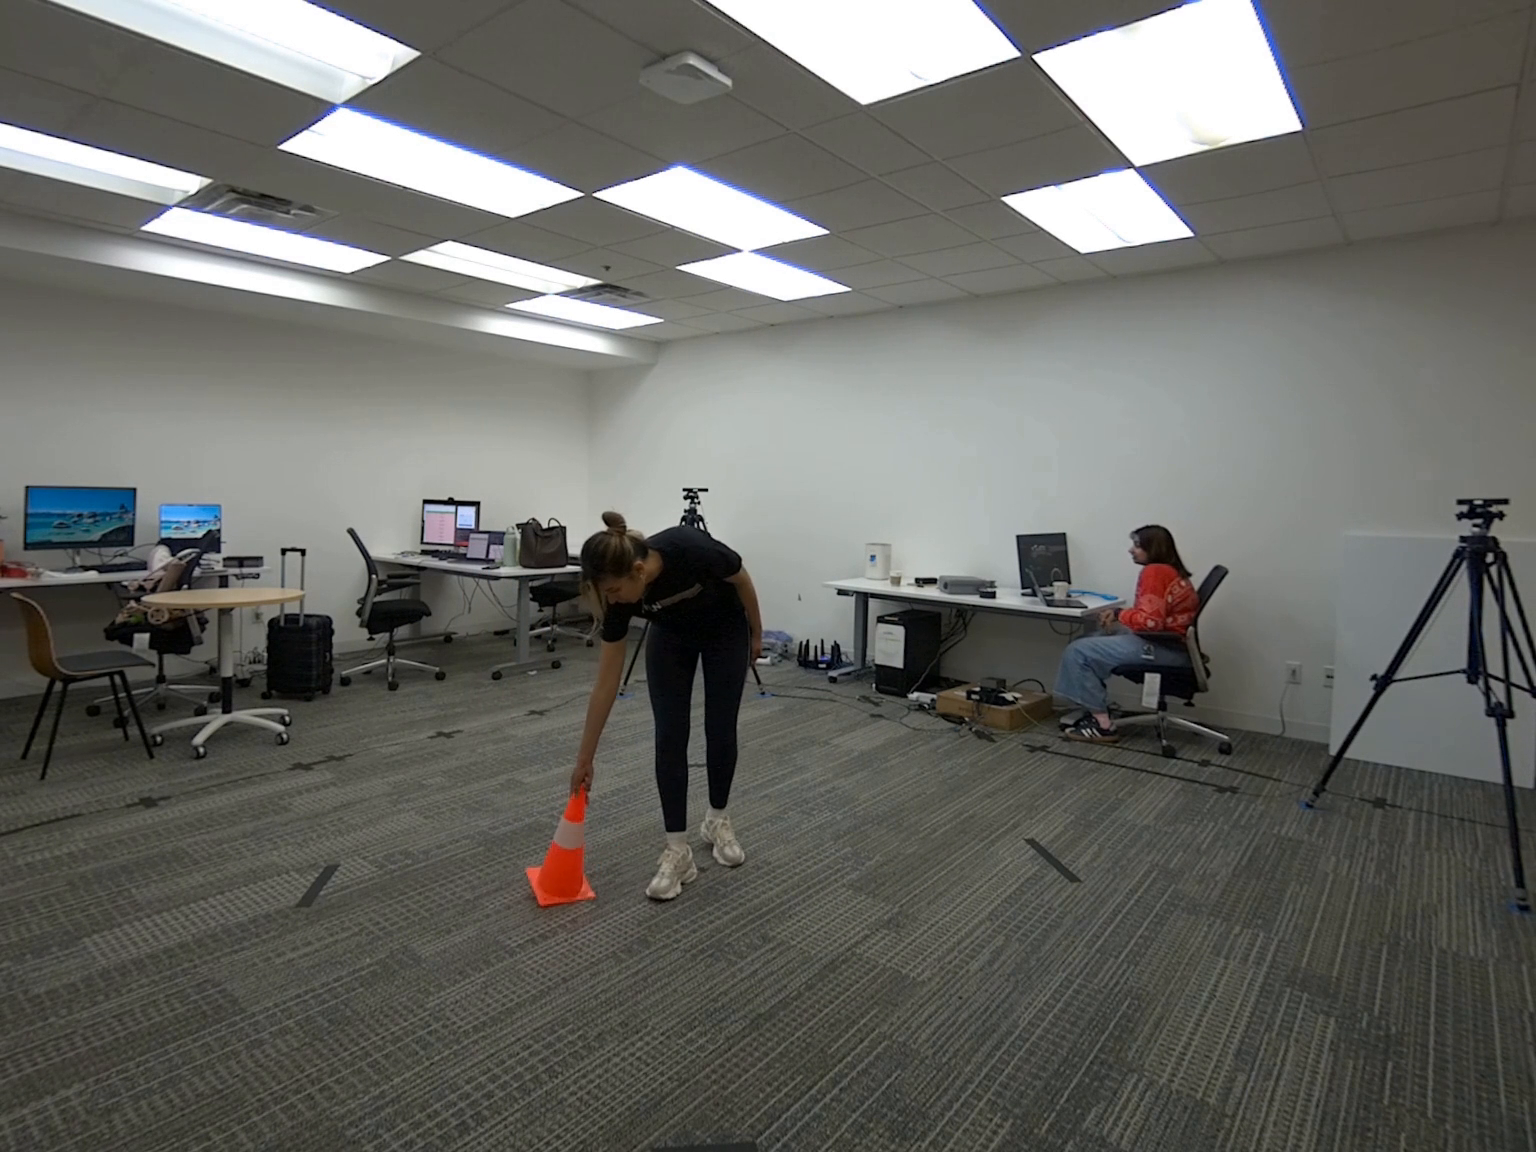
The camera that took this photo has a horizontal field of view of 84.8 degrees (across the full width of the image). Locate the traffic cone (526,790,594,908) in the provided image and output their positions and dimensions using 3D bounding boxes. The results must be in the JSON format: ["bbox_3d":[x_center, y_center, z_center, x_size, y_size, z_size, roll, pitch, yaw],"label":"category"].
[{"bbox_3d":[-0.676,0.882,2.874,0.197,0.380,0.213,3,16,-37],"label":"traffic cone"}]
